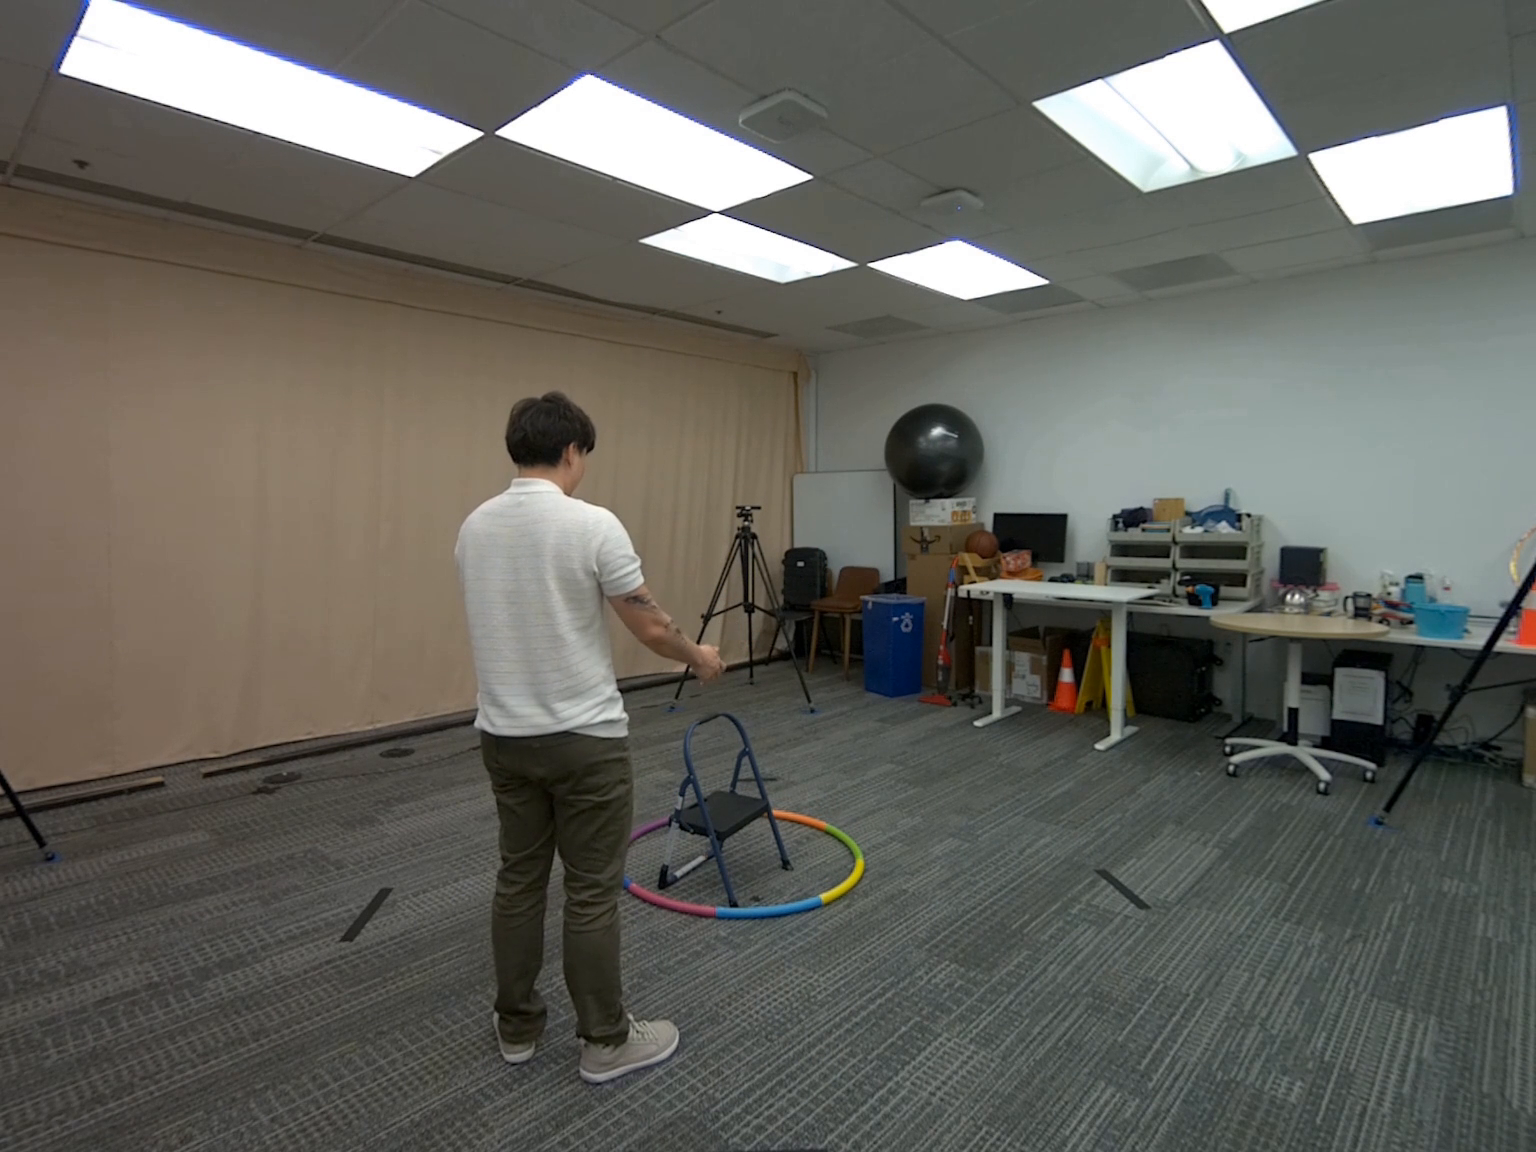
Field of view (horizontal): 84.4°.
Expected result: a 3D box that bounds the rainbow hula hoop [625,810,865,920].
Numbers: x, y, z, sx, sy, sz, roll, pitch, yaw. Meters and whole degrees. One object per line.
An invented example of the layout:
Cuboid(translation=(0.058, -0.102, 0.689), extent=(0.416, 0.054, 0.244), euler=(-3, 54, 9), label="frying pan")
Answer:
Cuboid(translation=(-0.119, 1.085, 3.318), extent=(0.978, 0.035, 0.982), euler=(0, 5, -2), label="rainbow hula hoop")
